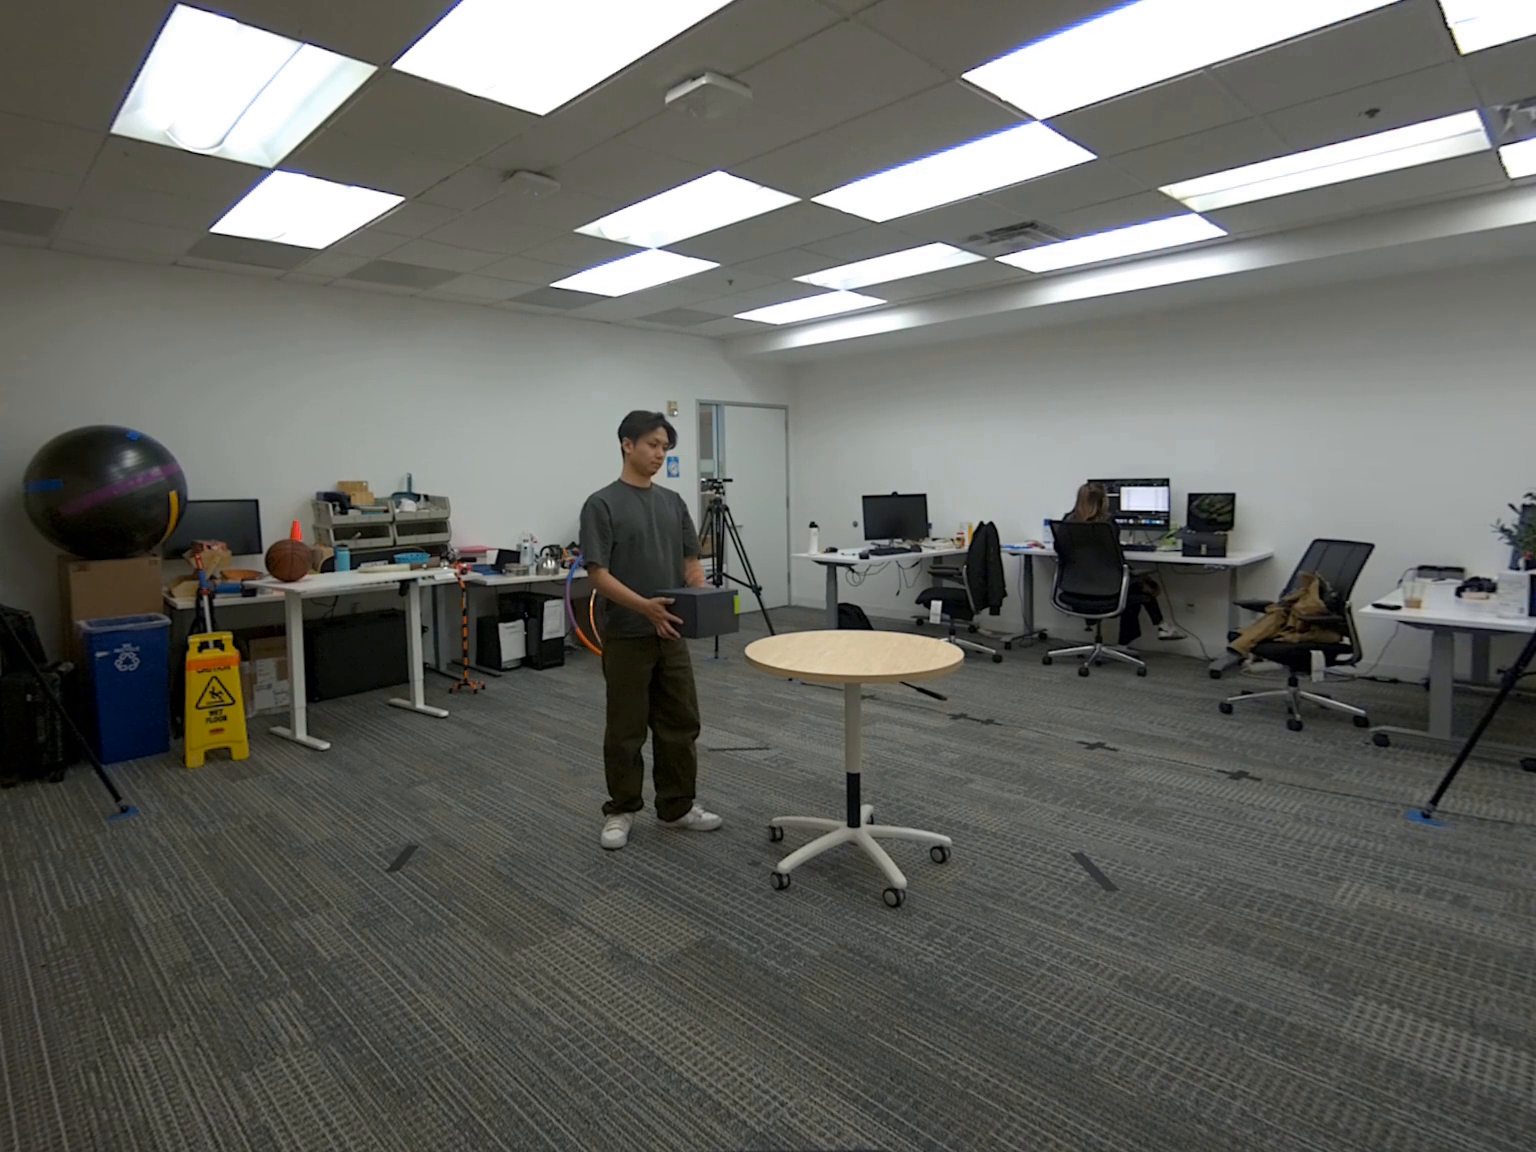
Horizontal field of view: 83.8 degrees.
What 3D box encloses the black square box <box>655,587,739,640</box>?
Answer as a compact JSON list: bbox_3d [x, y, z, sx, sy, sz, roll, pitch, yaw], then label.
[{"bbox_3d":[-0.255,0.130,3.085,0.235,0.155,0.211,2,5,43],"label":"black square box"}]
